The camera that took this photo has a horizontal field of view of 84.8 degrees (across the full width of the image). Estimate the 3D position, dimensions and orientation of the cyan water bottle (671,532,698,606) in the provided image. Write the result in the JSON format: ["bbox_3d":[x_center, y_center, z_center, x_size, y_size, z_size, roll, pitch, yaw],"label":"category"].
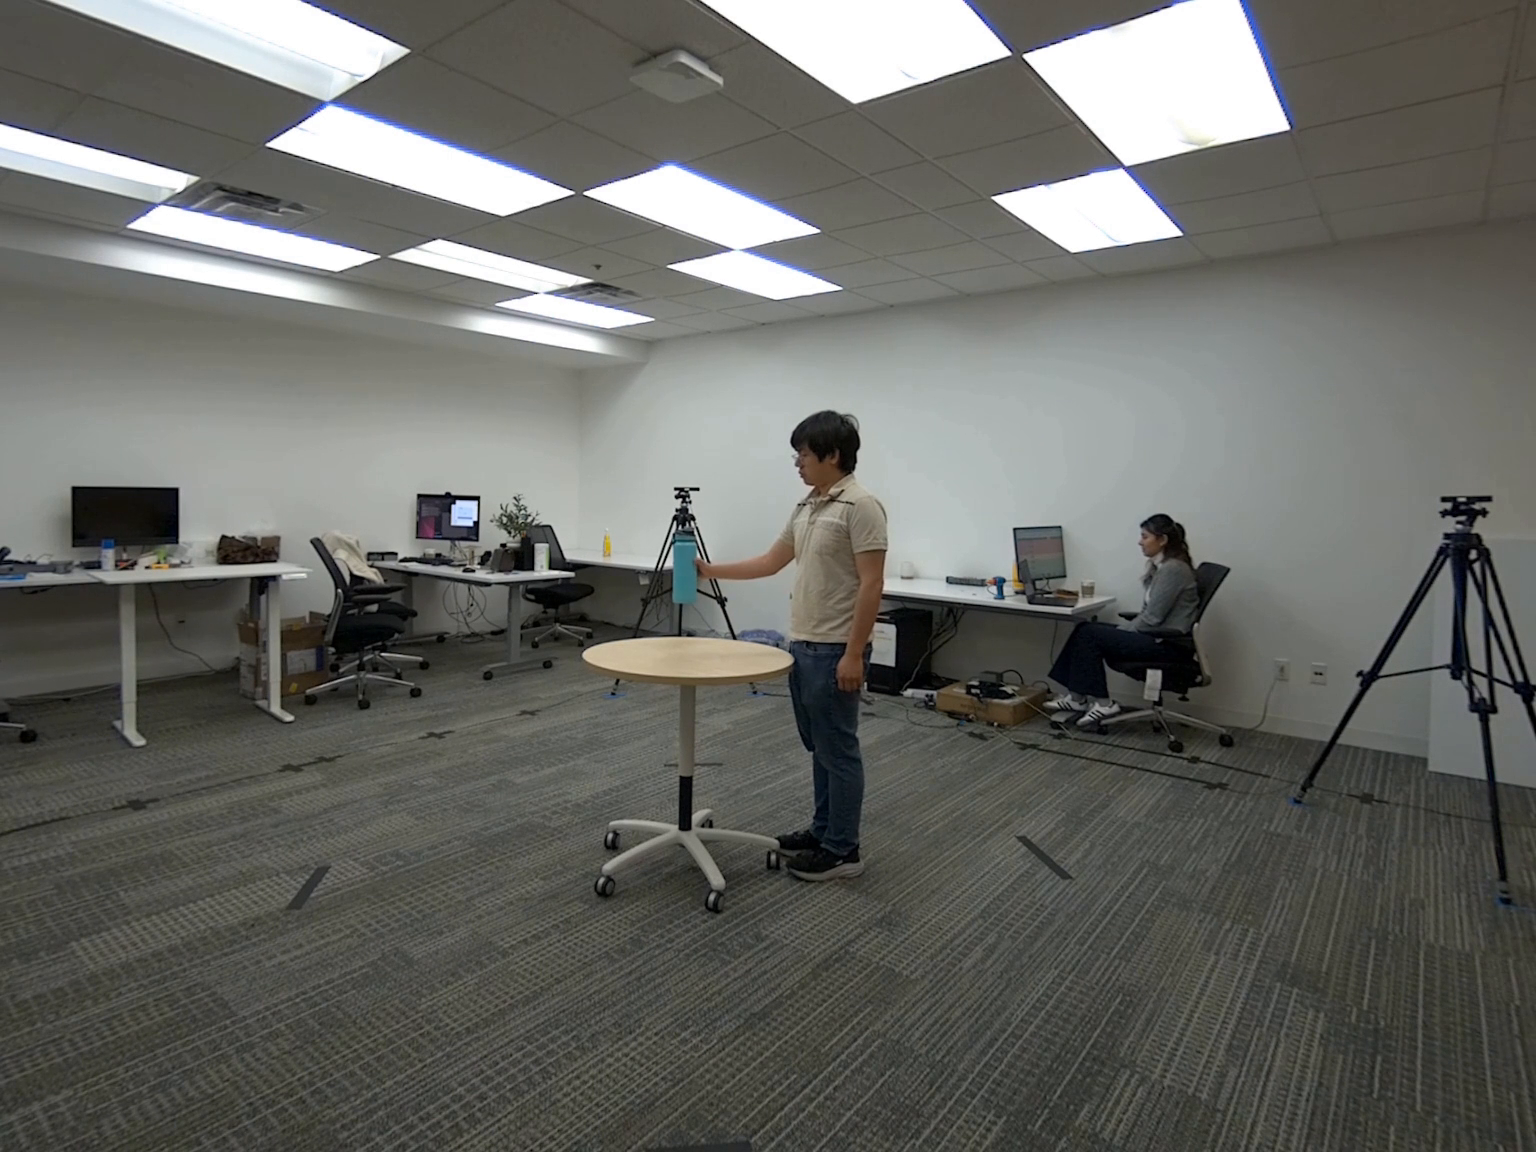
[{"bbox_3d":[-0.320,-0.049,3.181,0.092,0.283,0.092,-2,1,-2],"label":"cyan water bottle"}]
